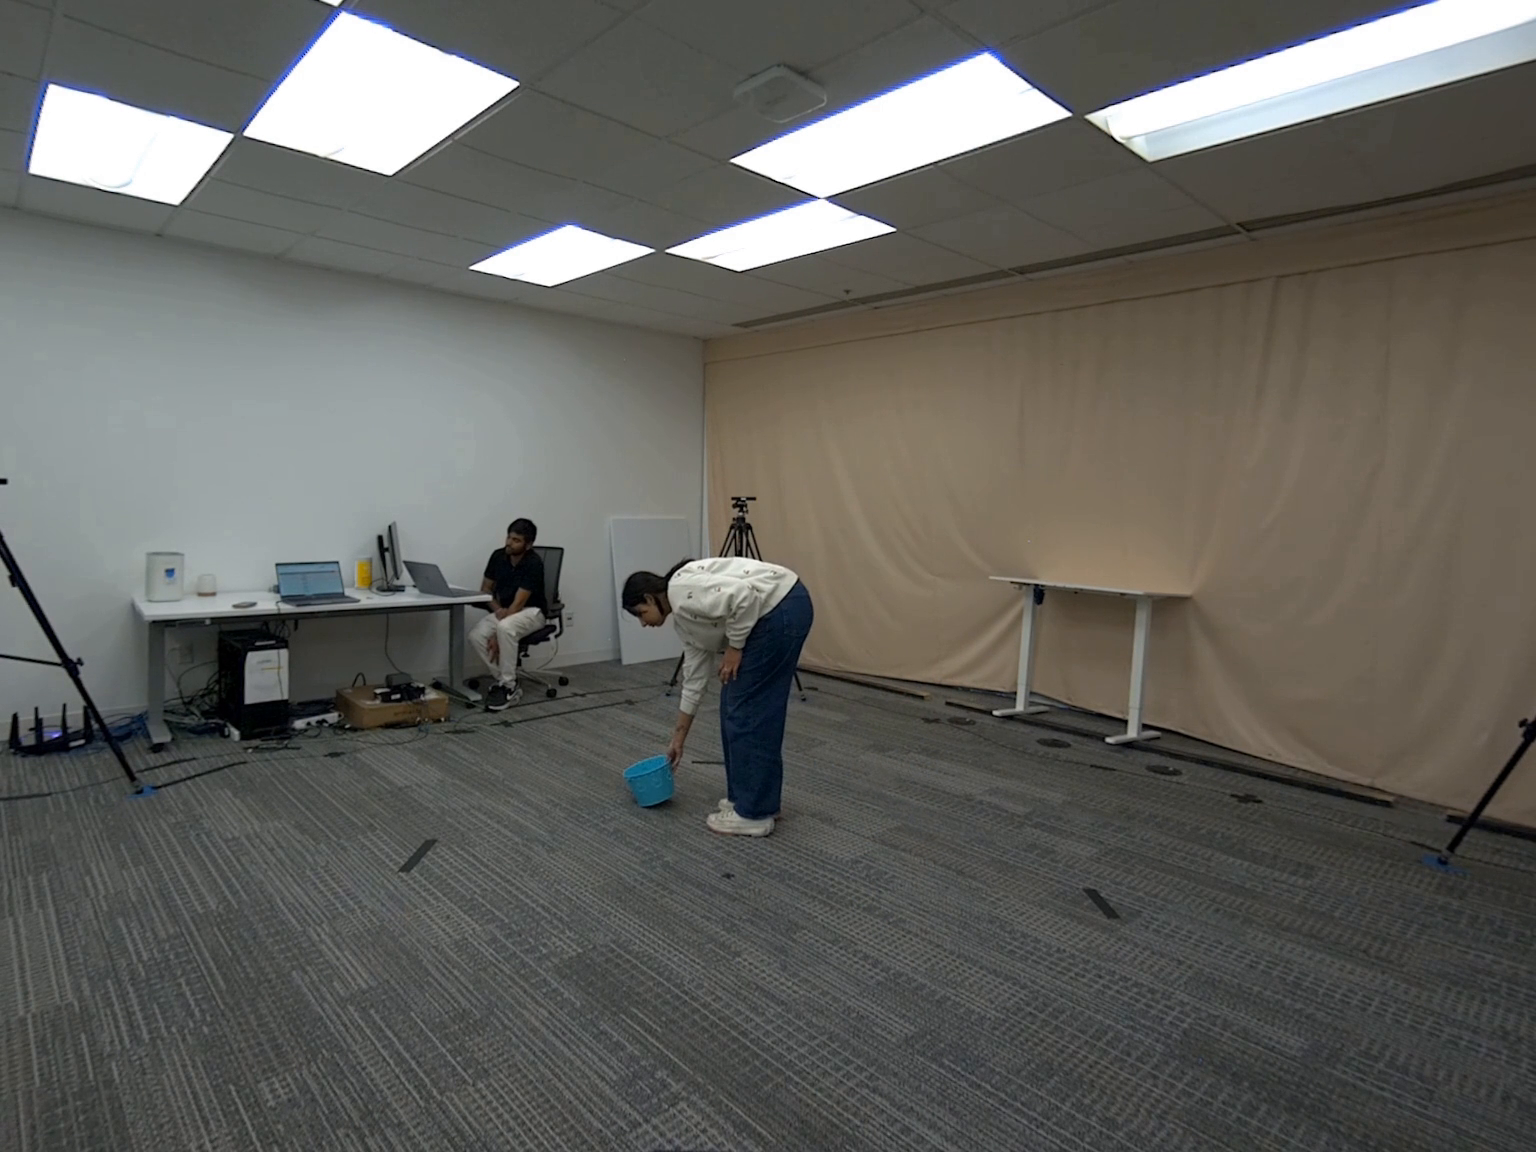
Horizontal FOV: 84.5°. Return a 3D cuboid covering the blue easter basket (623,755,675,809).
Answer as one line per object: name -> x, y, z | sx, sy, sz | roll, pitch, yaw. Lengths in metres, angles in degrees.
blue easter basket -> -0.544, 0.926, 3.840 | 0.243, 0.155, 0.244 | -16, 5, 0
